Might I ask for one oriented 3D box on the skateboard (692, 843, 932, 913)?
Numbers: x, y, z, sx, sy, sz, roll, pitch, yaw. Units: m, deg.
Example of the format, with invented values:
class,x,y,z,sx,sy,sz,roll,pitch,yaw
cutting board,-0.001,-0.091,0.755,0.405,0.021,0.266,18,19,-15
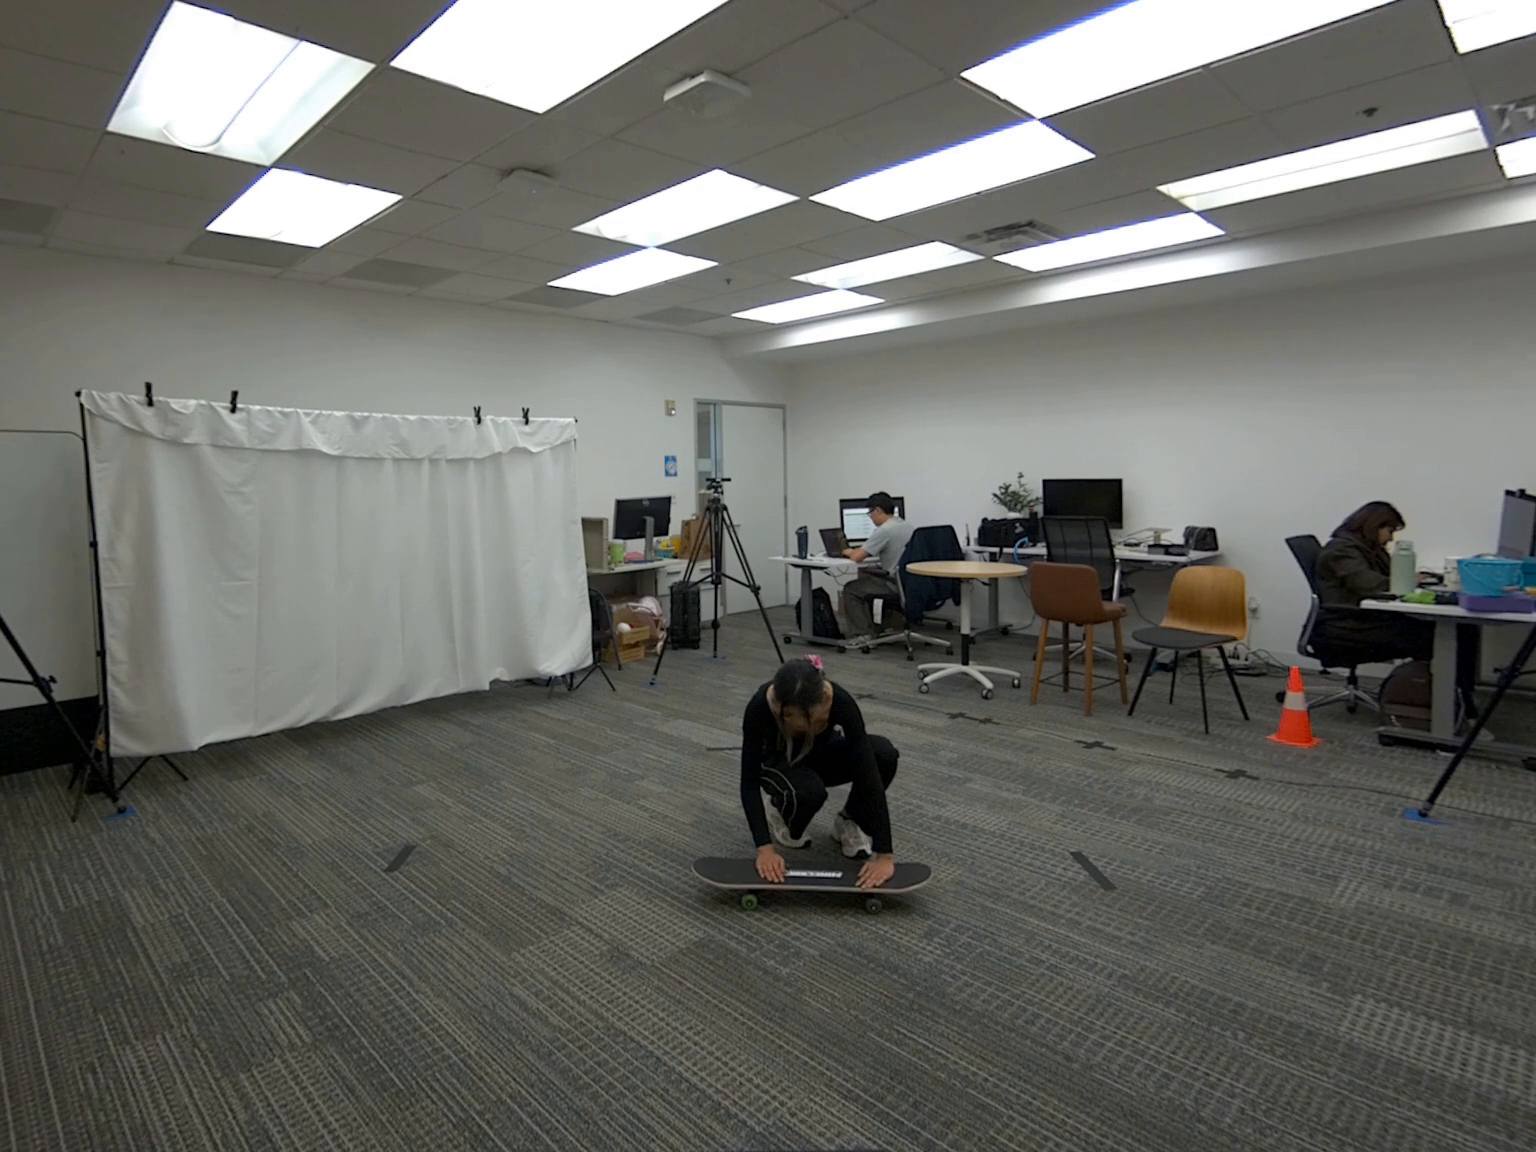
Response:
class,x,y,z,sx,sy,sz,roll,pitch,yaw
skateboard,0.143,1.011,2.831,0.789,0.110,0.193,0,5,5
